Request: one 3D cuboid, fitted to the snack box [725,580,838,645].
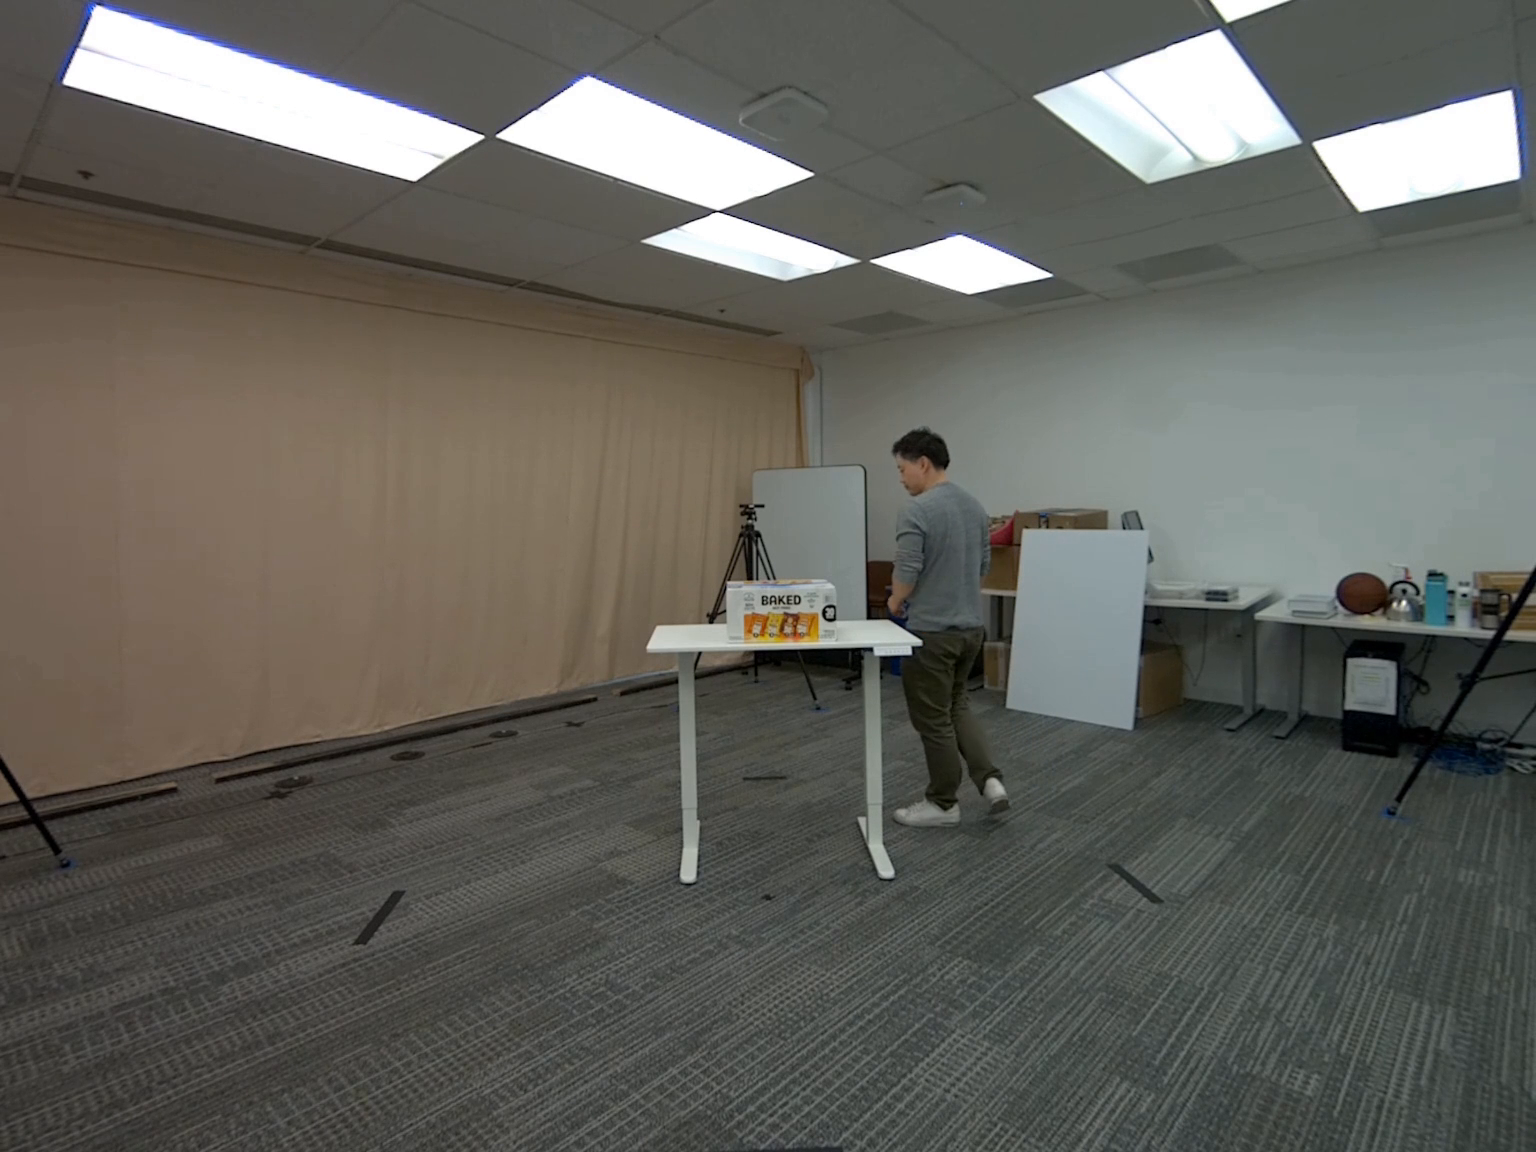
[{"bbox_3d":[0.047,0.132,3.272,0.405,0.205,0.341,-2,3,0],"label":"snack box"}]
